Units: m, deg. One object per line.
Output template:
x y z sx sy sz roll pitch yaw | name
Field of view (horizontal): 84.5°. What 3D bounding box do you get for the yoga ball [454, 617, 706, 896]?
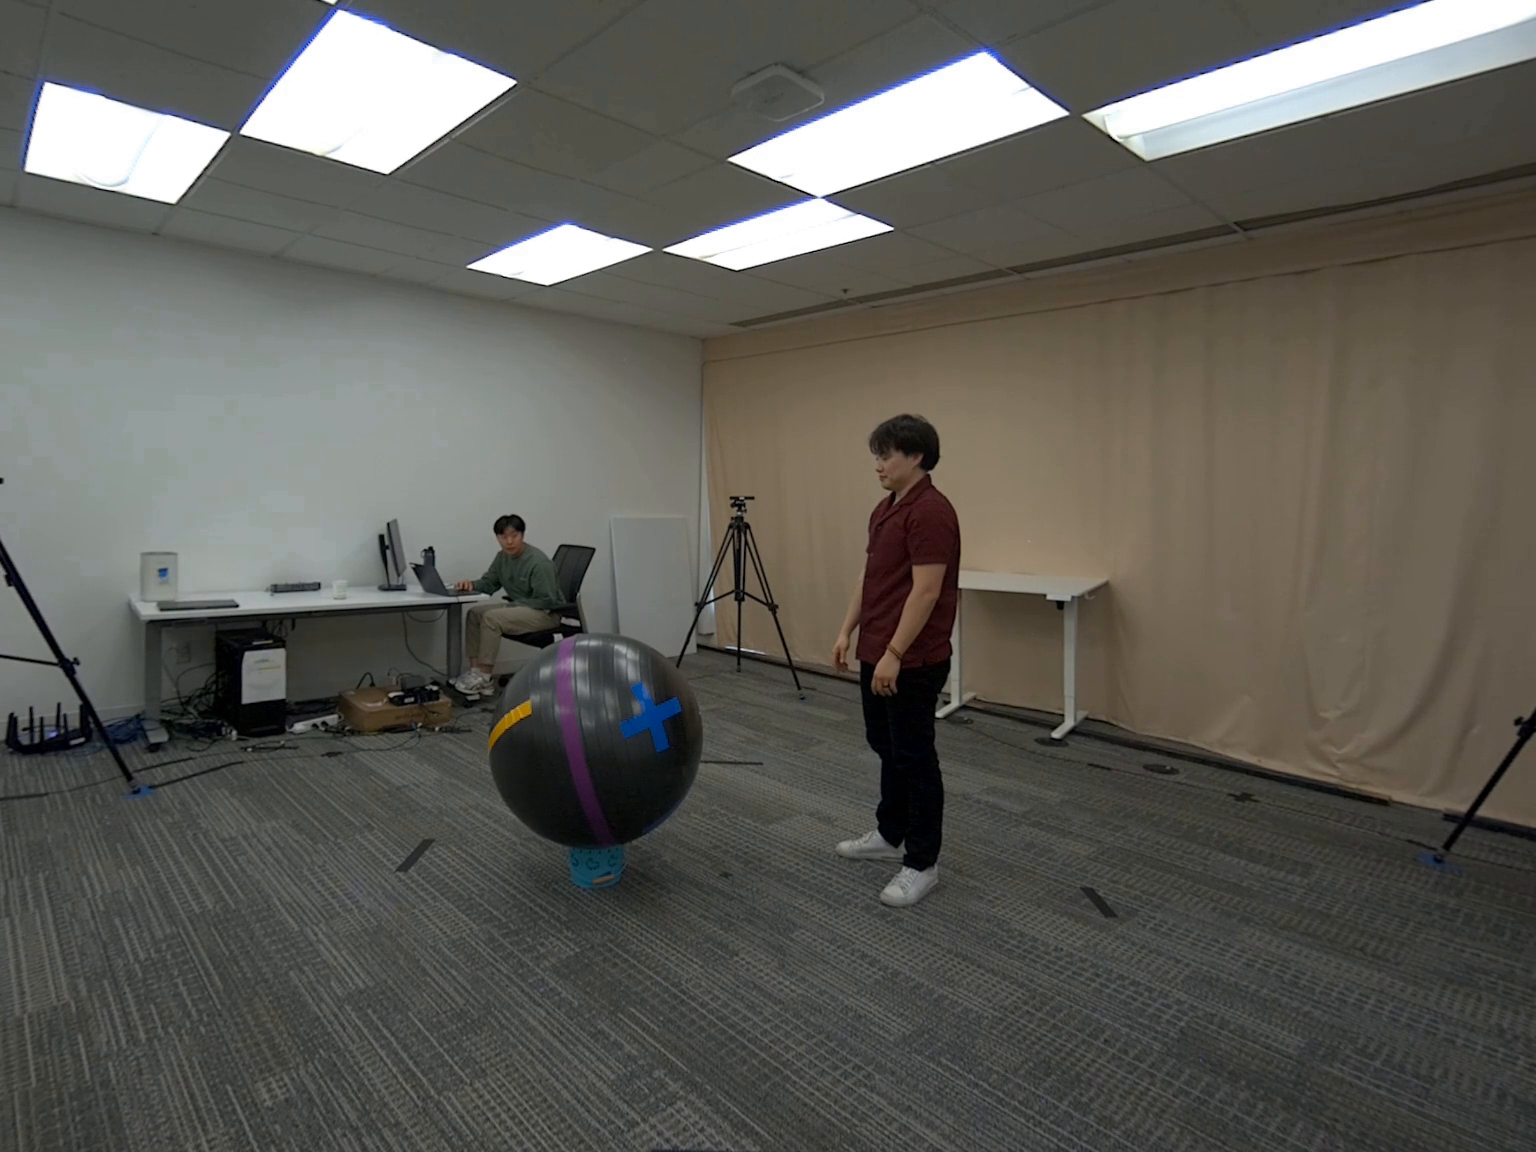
-0.624 0.587 3.039 0.757 0.756 0.761 1 4 -1 | yoga ball
